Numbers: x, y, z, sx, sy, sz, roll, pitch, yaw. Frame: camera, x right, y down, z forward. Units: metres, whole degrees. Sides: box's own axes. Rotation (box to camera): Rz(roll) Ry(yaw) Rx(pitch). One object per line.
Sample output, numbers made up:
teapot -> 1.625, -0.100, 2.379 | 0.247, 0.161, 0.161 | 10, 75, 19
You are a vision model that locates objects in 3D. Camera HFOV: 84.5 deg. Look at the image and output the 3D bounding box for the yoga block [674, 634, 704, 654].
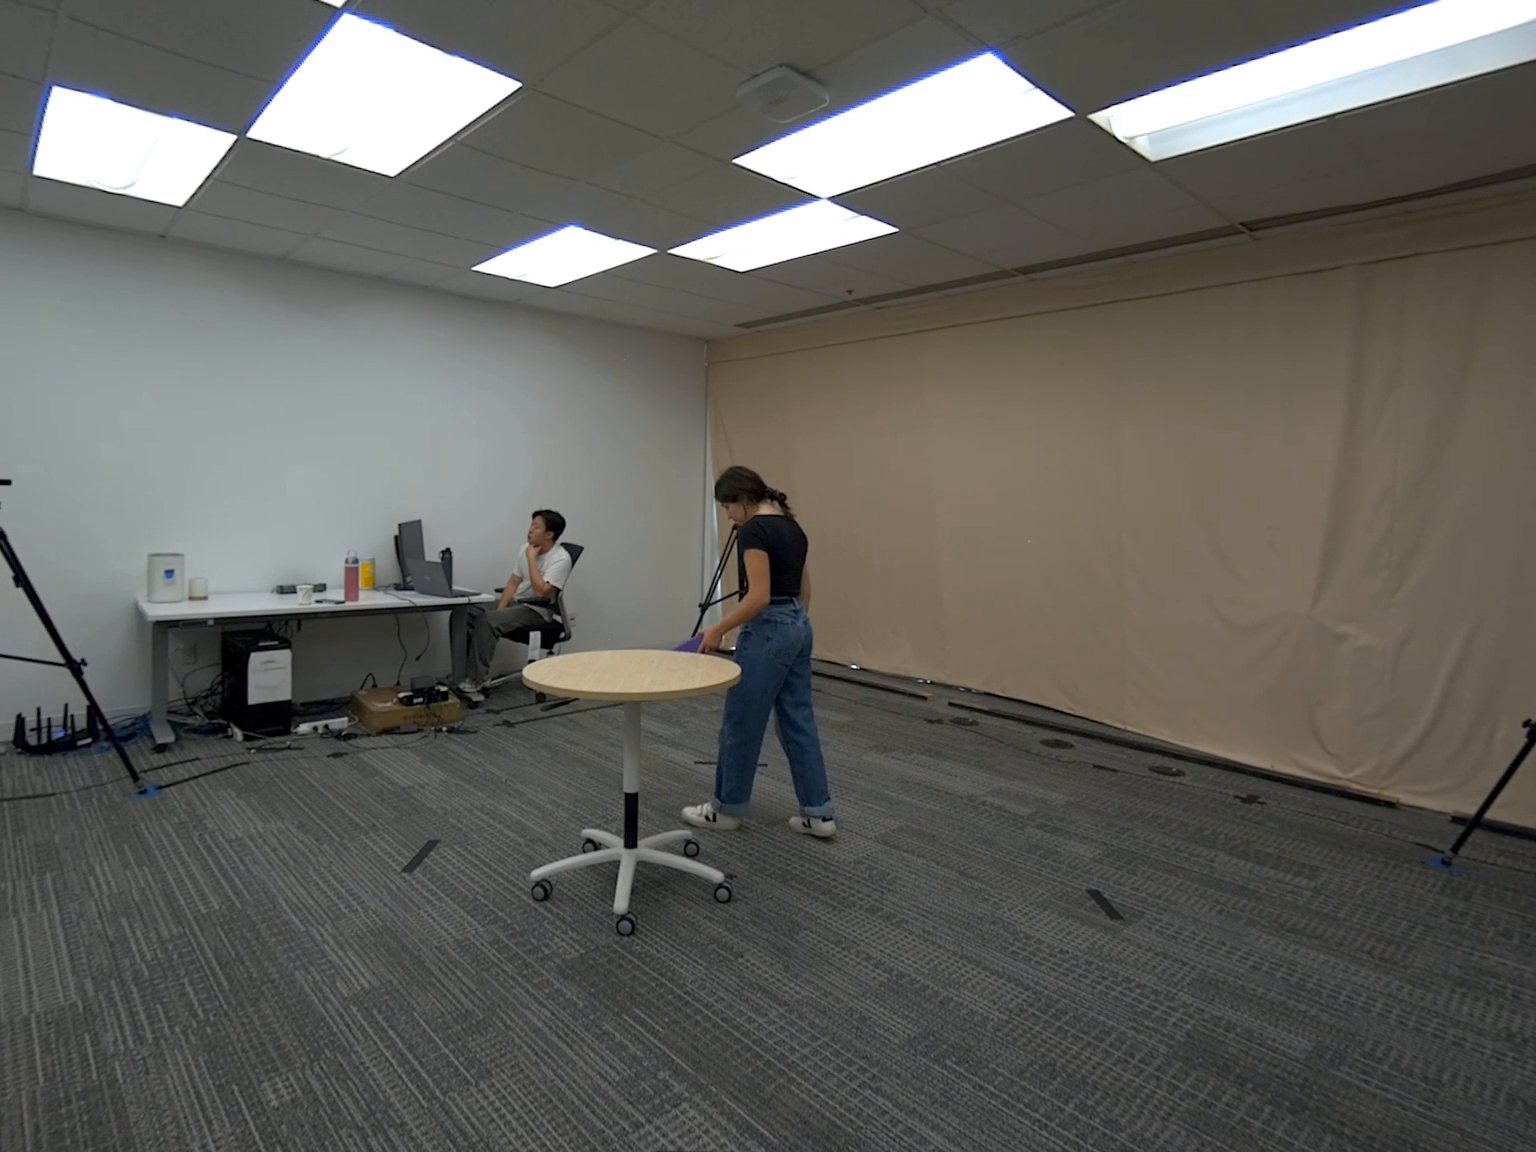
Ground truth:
yoga block -> -0.334, 0.323, 3.495 | 0.229, 0.077, 0.148 | -27, -5, -5
